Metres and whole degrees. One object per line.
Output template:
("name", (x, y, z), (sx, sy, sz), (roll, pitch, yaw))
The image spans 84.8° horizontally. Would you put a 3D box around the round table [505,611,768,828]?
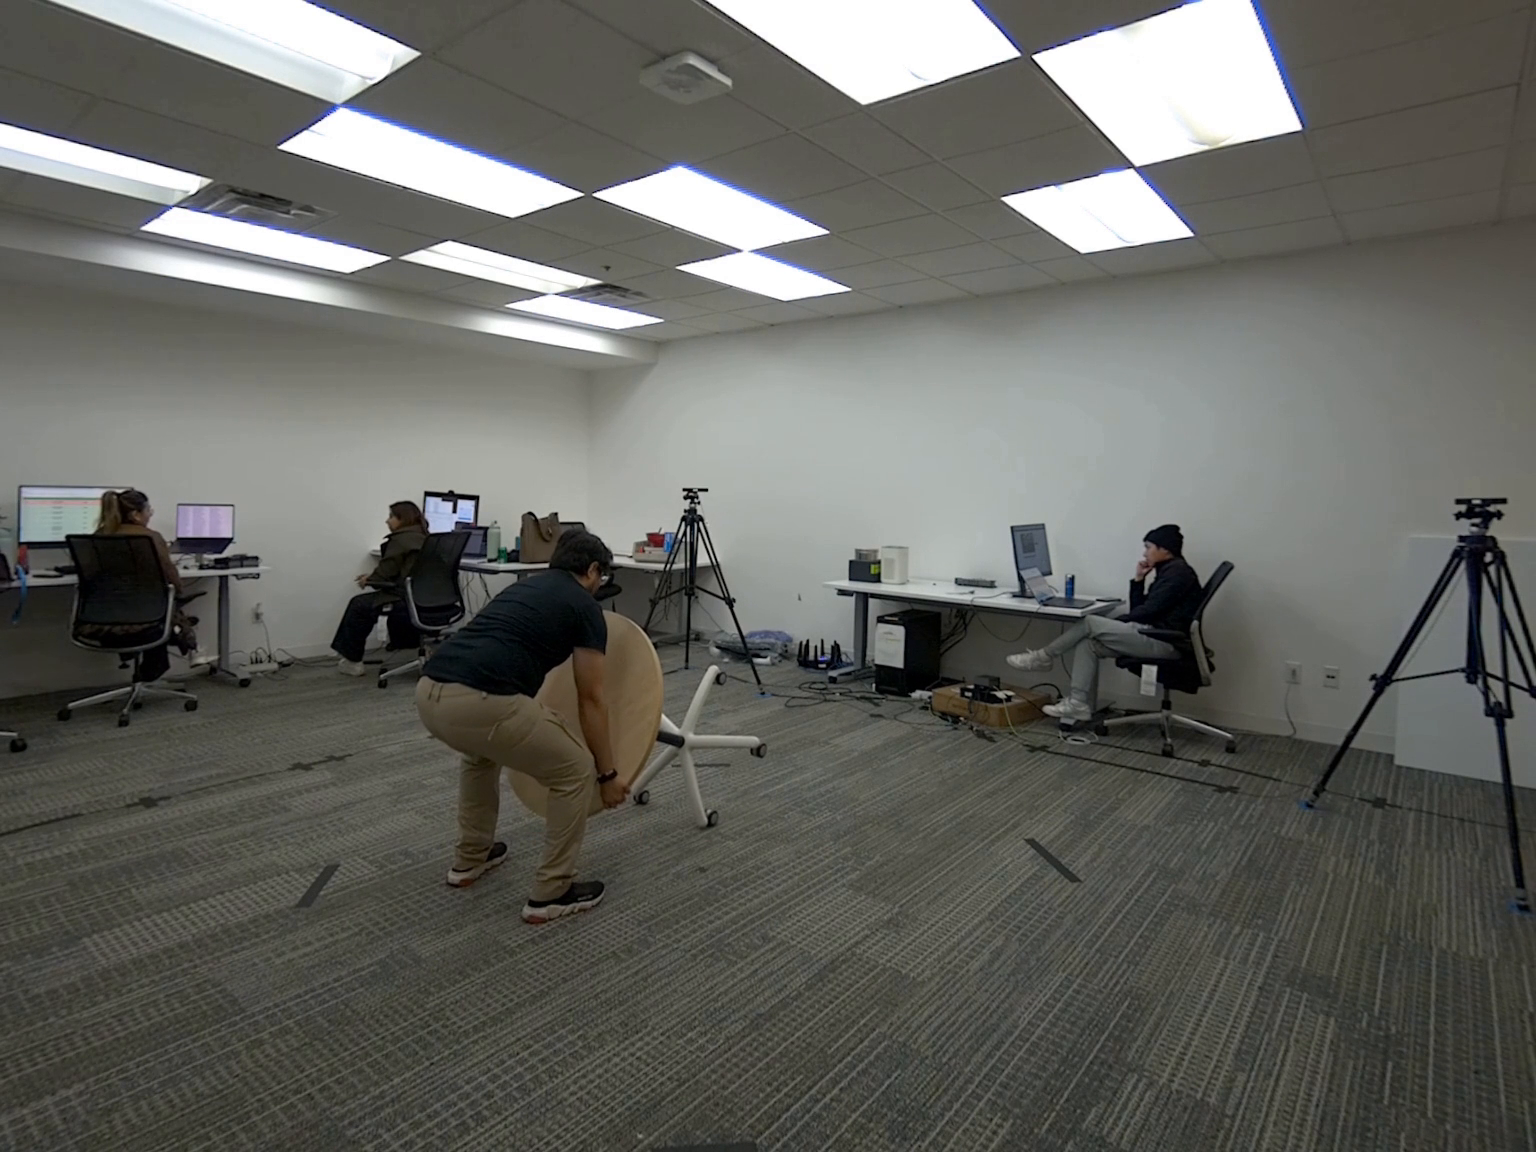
("round table", (-0.510, 0.621, 3.414), (0.810, 0.793, 0.754), (4, -18, 36))
